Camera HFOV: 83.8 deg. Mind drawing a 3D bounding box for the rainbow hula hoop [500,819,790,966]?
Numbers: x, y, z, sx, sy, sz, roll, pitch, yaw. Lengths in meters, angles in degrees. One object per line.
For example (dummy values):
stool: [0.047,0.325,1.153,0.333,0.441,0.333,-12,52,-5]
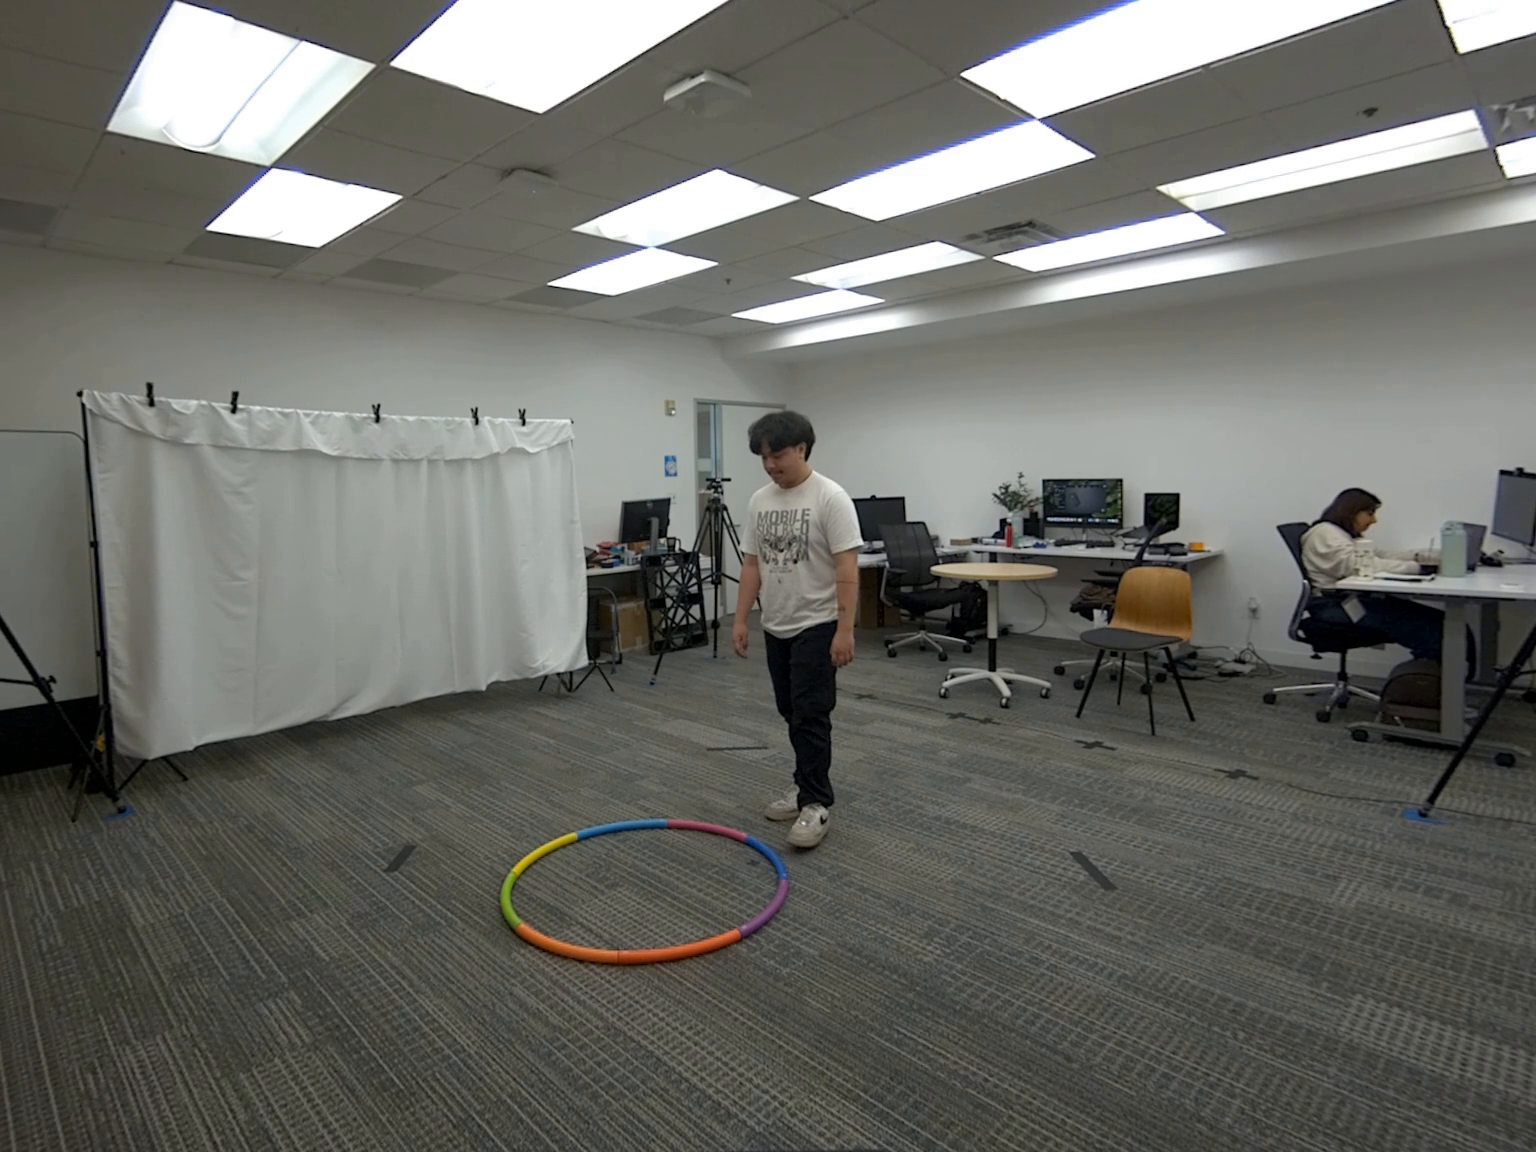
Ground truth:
rainbow hula hoop: [-0.419,1.041,2.952,0.985,0.051,0.990,-1,6,-2]
